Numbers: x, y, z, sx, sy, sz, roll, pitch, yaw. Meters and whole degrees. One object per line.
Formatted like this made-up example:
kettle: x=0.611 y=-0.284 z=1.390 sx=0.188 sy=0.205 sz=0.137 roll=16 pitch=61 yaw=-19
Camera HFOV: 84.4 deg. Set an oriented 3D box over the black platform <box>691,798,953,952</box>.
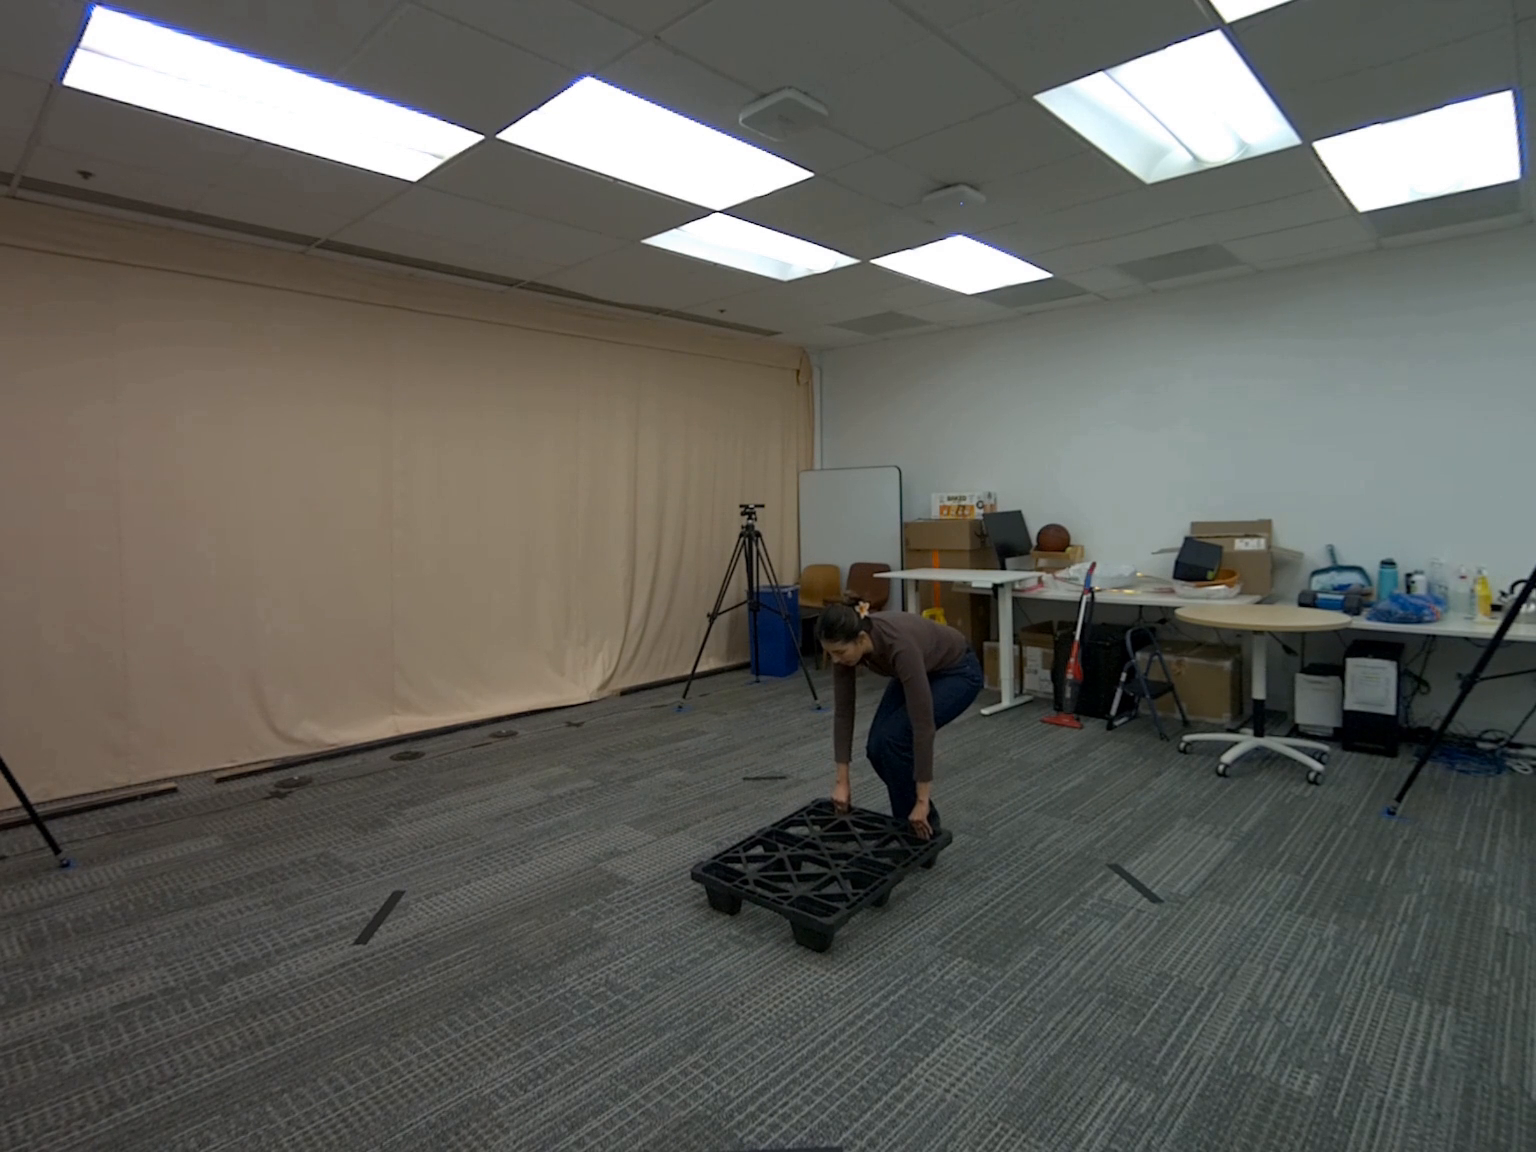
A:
black platform: x=0.217 y=1.049 z=3.020 sx=0.625 sy=0.142 sz=0.783 roll=4 pitch=10 yaw=40
